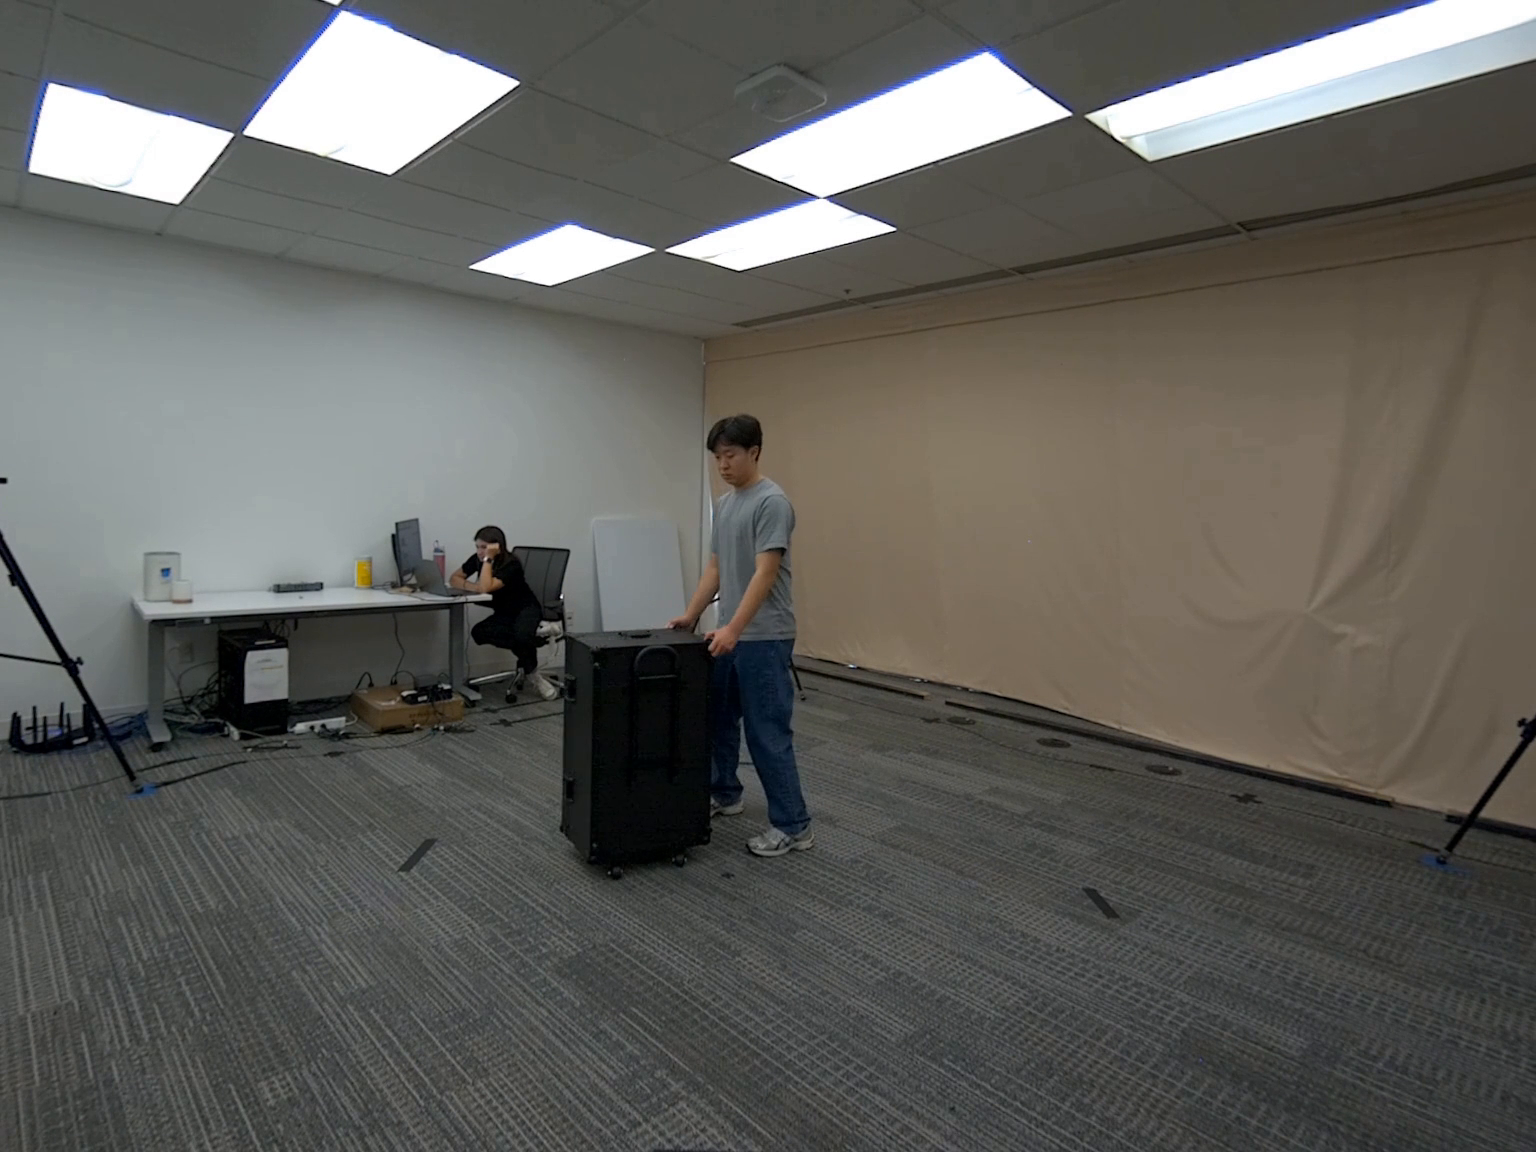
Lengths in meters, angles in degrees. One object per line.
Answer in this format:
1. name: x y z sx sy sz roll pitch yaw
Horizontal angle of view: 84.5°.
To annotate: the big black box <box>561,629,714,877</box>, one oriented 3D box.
1. big black box: -0.501 0.663 3.226 0.511 0.859 0.405 0 4 -29
